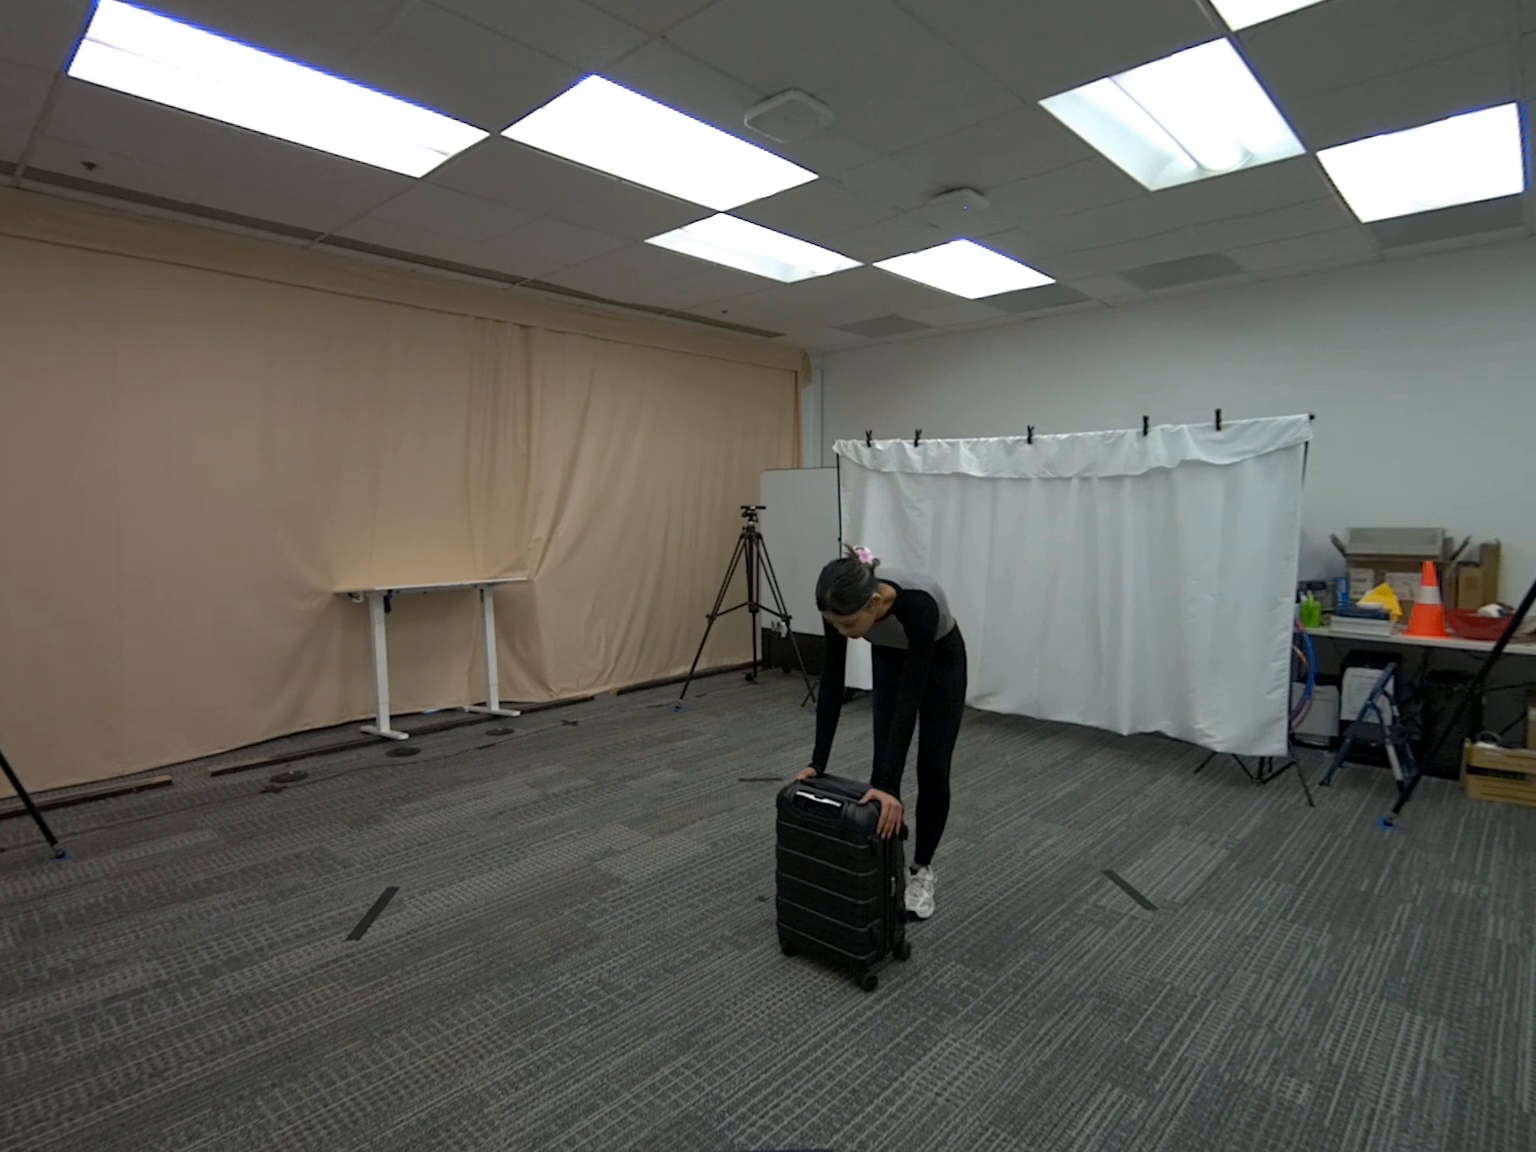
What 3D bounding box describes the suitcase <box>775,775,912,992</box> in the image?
[{"bbox_3d":[0.223,0.905,2.579,0.388,0.548,0.241,3,6,40],"label":"suitcase"}]
